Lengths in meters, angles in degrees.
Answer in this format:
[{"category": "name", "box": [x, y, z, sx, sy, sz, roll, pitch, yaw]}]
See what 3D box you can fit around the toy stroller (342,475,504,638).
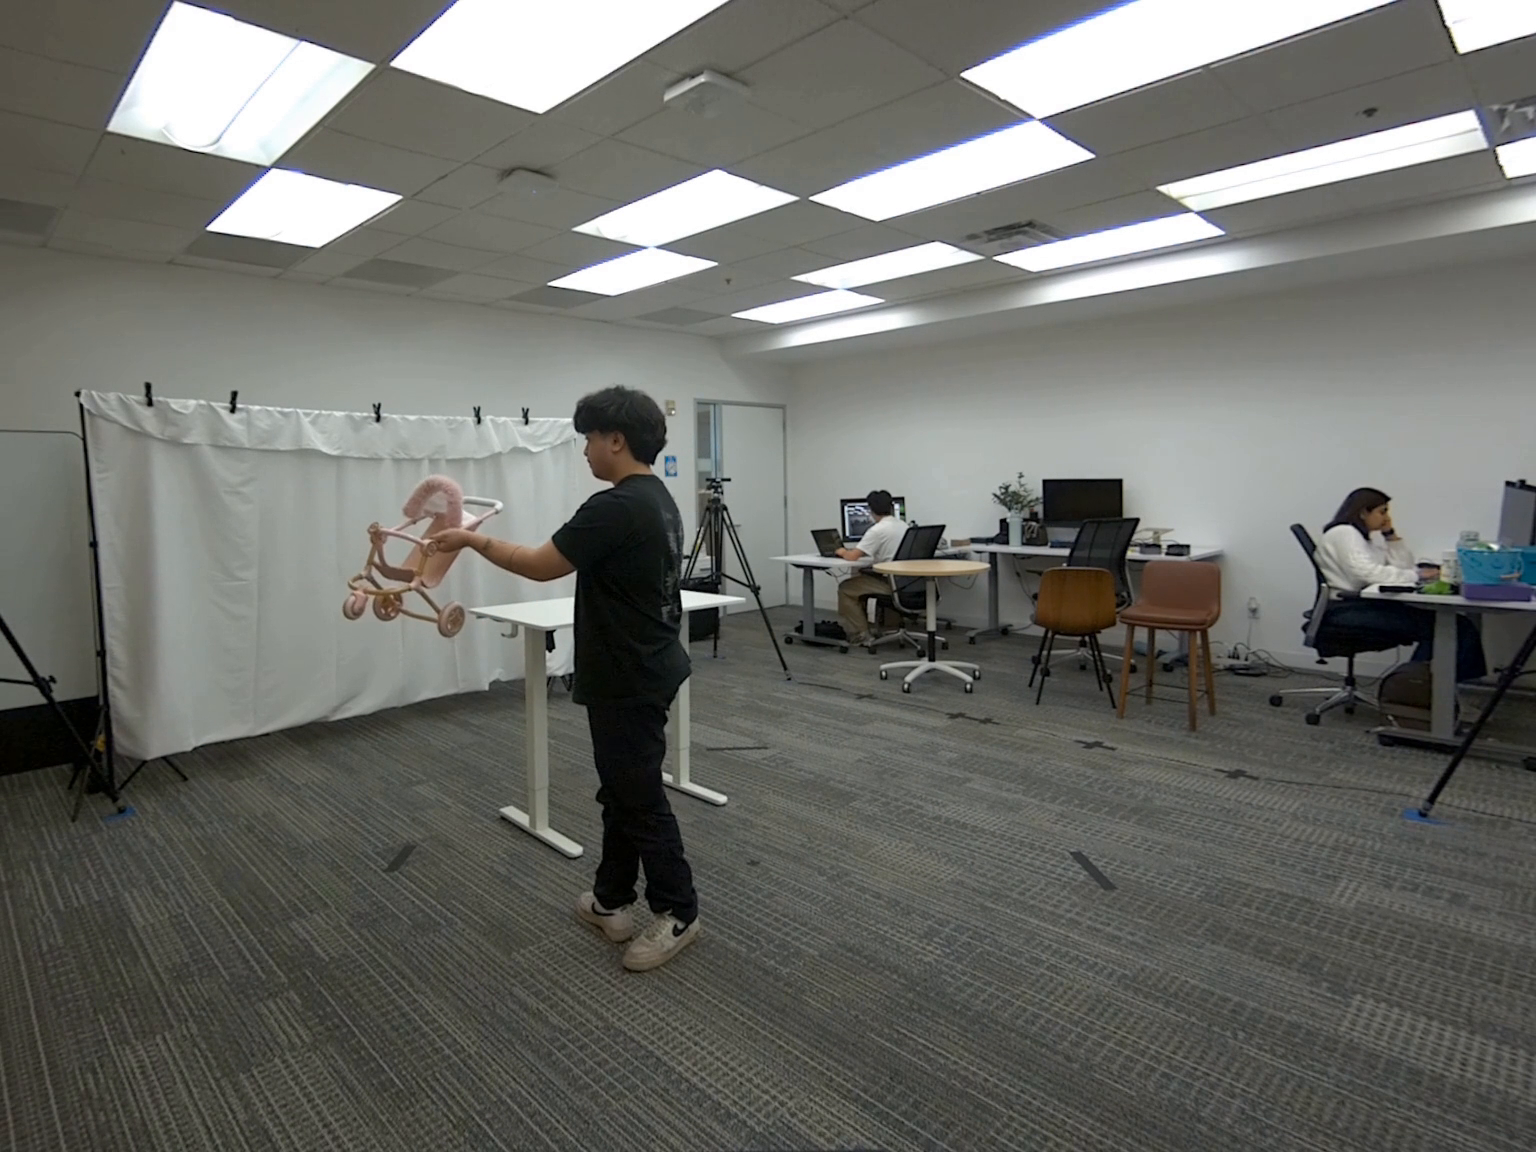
[{"category": "toy stroller", "box": [-1.033, -0.074, 2.544, 0.288, 0.541, 0.329, 8, -23, 24]}]
